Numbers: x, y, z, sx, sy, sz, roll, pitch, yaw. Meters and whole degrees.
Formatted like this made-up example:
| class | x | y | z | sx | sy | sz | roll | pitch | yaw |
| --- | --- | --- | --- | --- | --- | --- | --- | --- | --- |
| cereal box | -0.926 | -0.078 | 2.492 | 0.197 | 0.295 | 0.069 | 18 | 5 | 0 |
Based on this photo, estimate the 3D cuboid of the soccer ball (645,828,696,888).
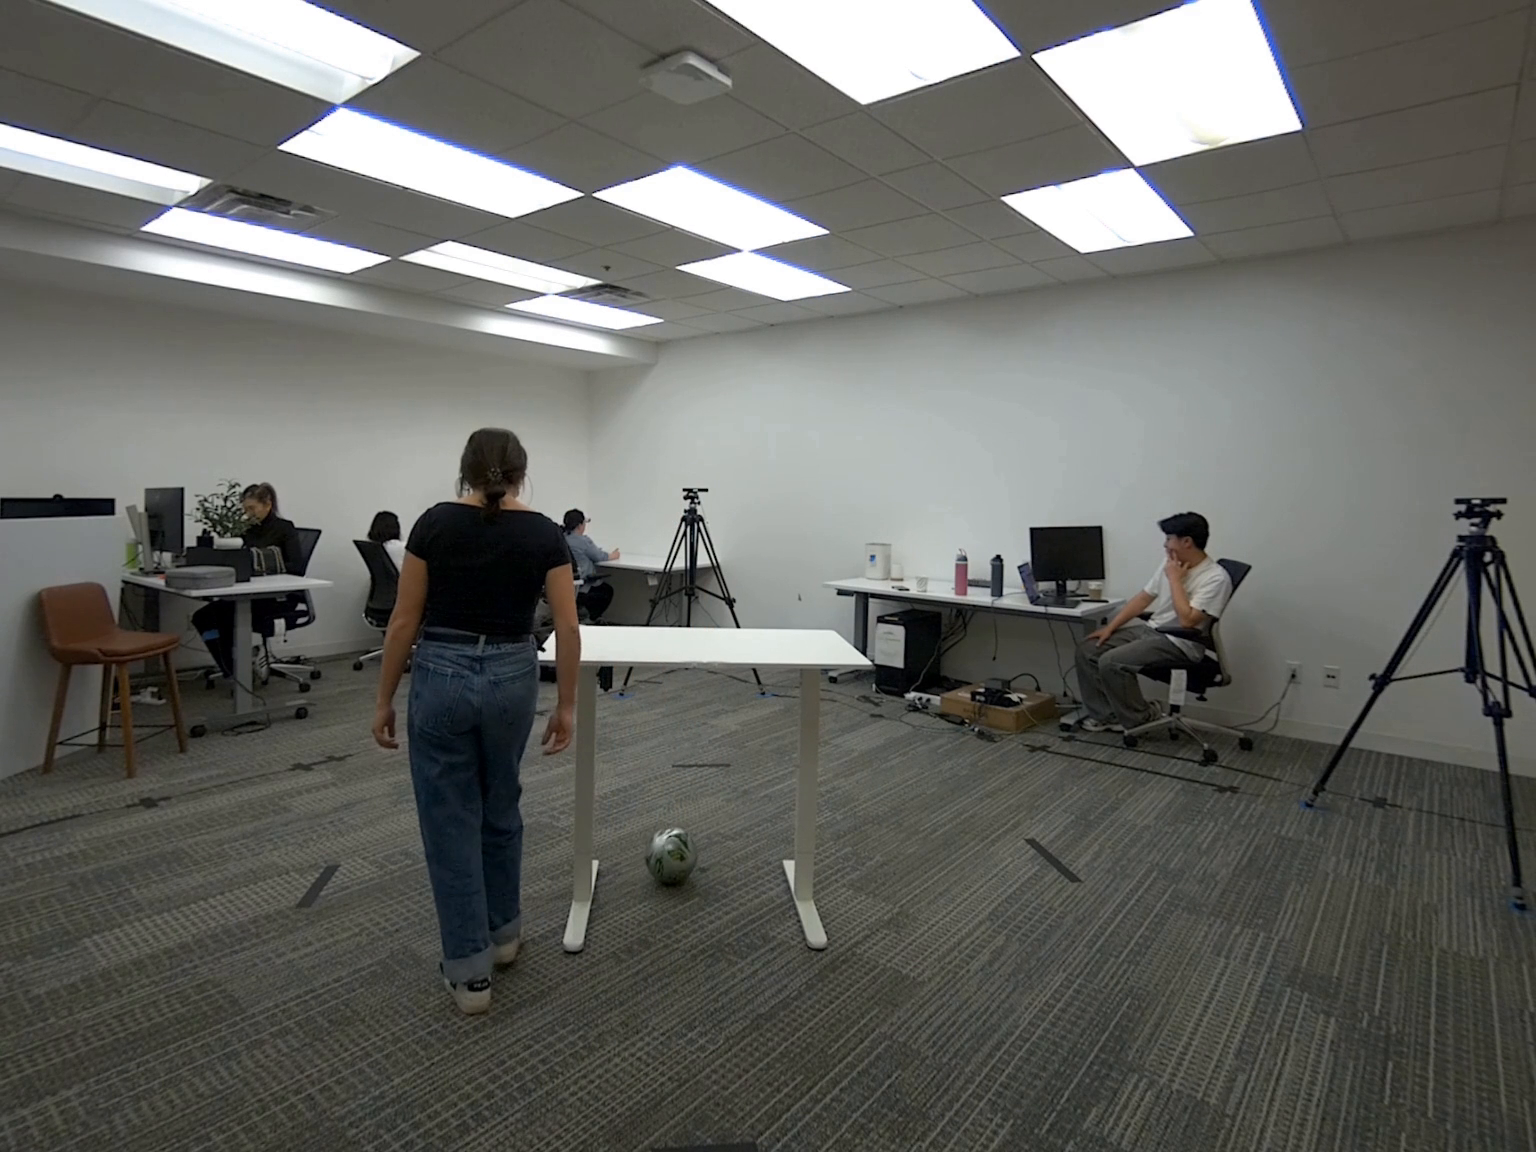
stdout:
| class | x | y | z | sx | sy | sz | roll | pitch | yaw |
| --- | --- | --- | --- | --- | --- | --- | --- | --- | --- |
| soccer ball | -0.337 | 0.980 | 3.008 | 0.187 | 0.187 | 0.188 | 1 | 4 | -2 |
